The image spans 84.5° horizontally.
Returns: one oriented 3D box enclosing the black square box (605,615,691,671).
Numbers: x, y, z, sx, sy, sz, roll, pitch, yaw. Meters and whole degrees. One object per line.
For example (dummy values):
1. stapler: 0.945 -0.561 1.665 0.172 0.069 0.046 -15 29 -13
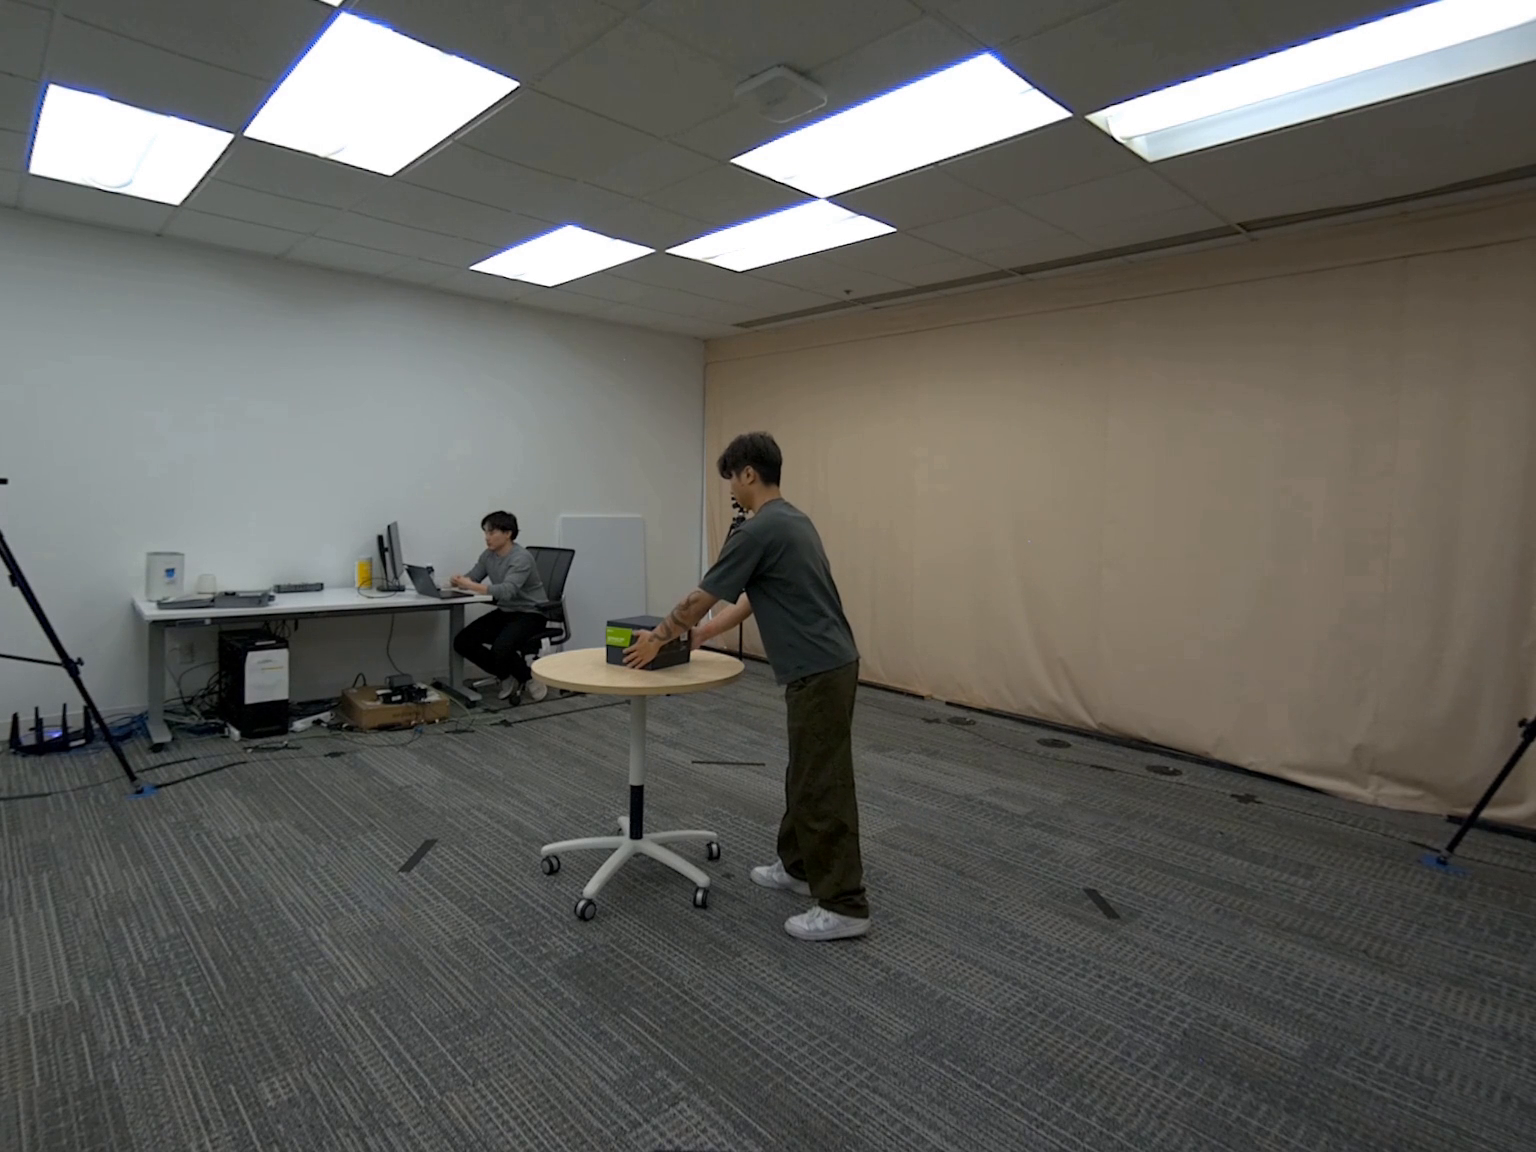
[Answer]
1. black square box: -0.445 0.239 3.085 0.233 0.155 0.212 4 6 34
